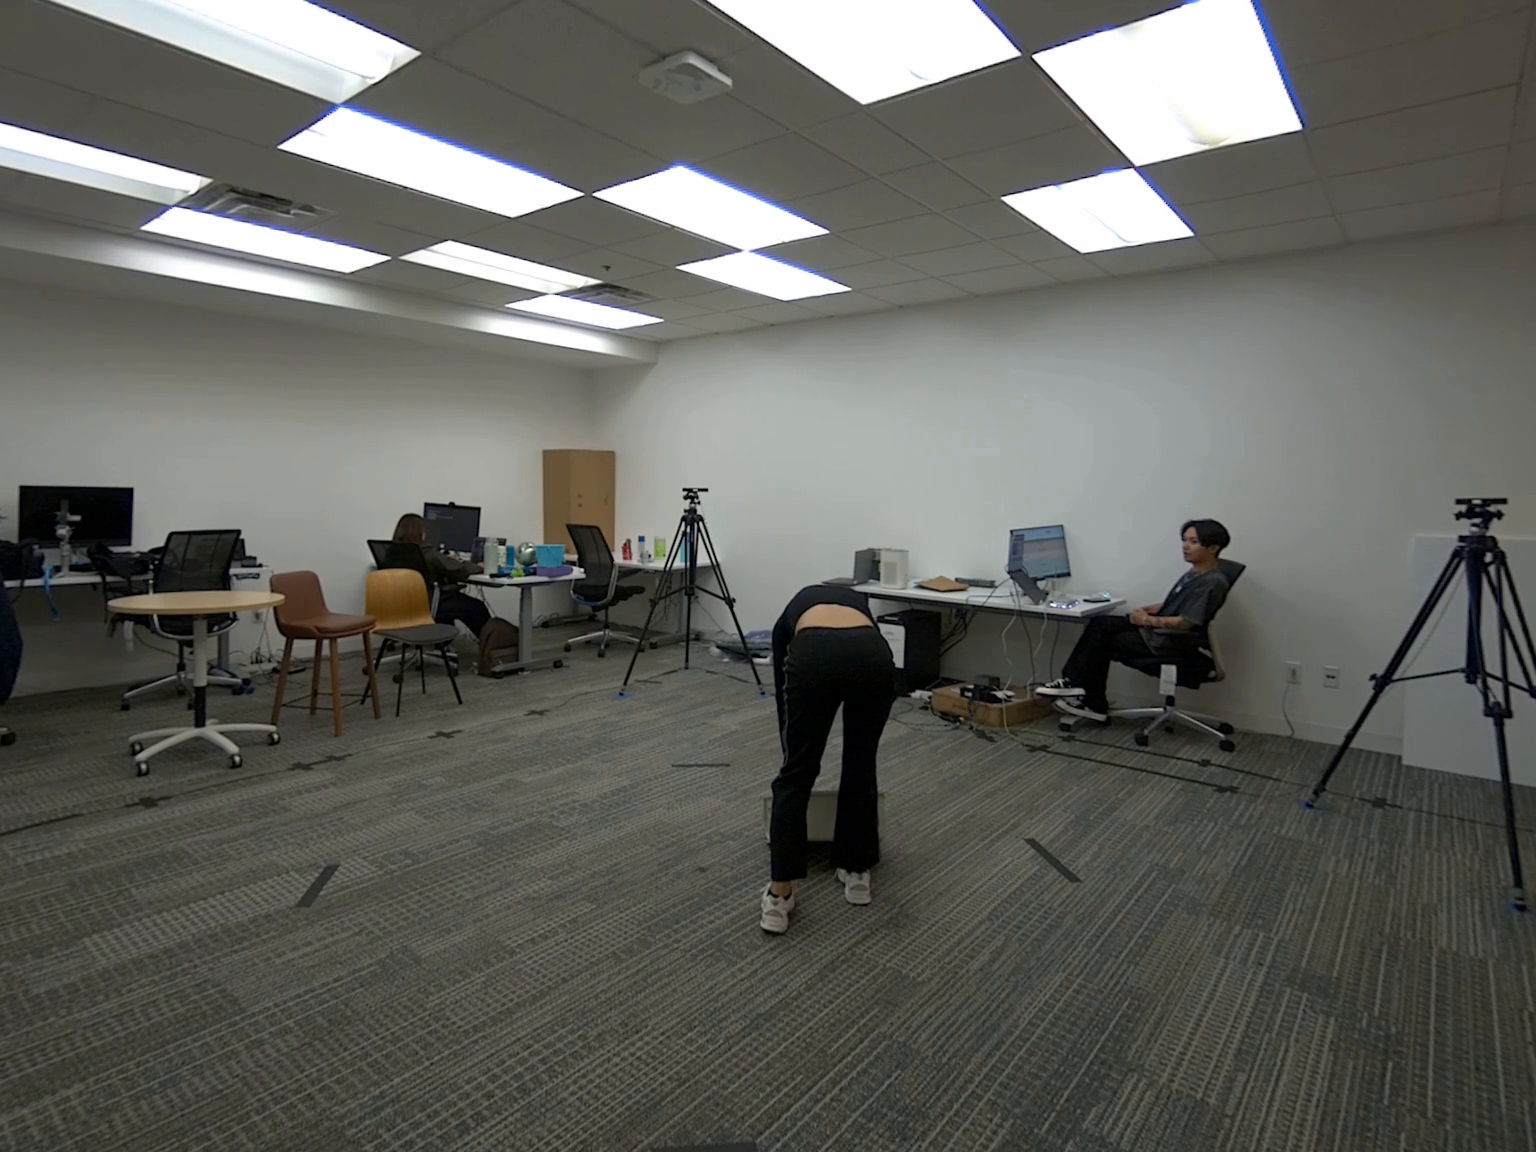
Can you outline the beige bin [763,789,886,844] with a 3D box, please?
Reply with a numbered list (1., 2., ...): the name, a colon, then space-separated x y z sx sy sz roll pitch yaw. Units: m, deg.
1. beige bin: 0.206 0.926 3.282 0.419 0.192 0.374 1 -16 -8
